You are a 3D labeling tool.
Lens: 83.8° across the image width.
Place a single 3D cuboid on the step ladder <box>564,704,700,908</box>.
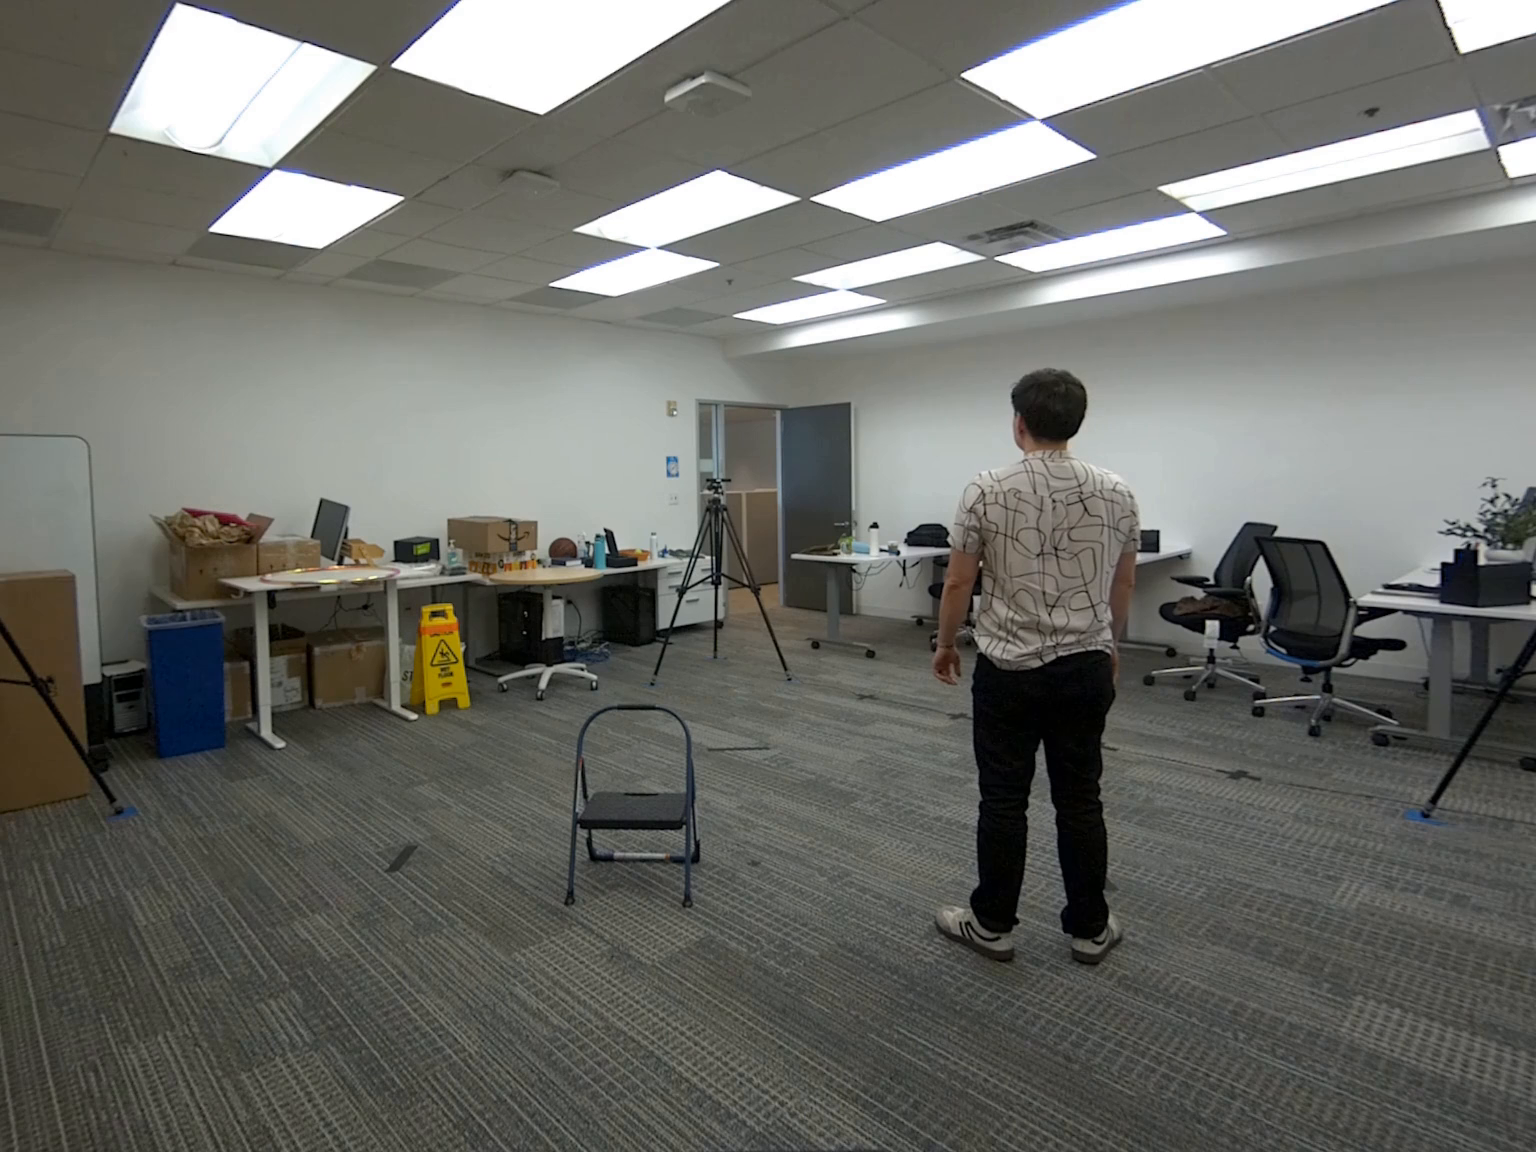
[{"bbox_3d":[-0.464,0.767,2.963,0.432,0.603,0.349,-1,5,3],"label":"step ladder"}]
